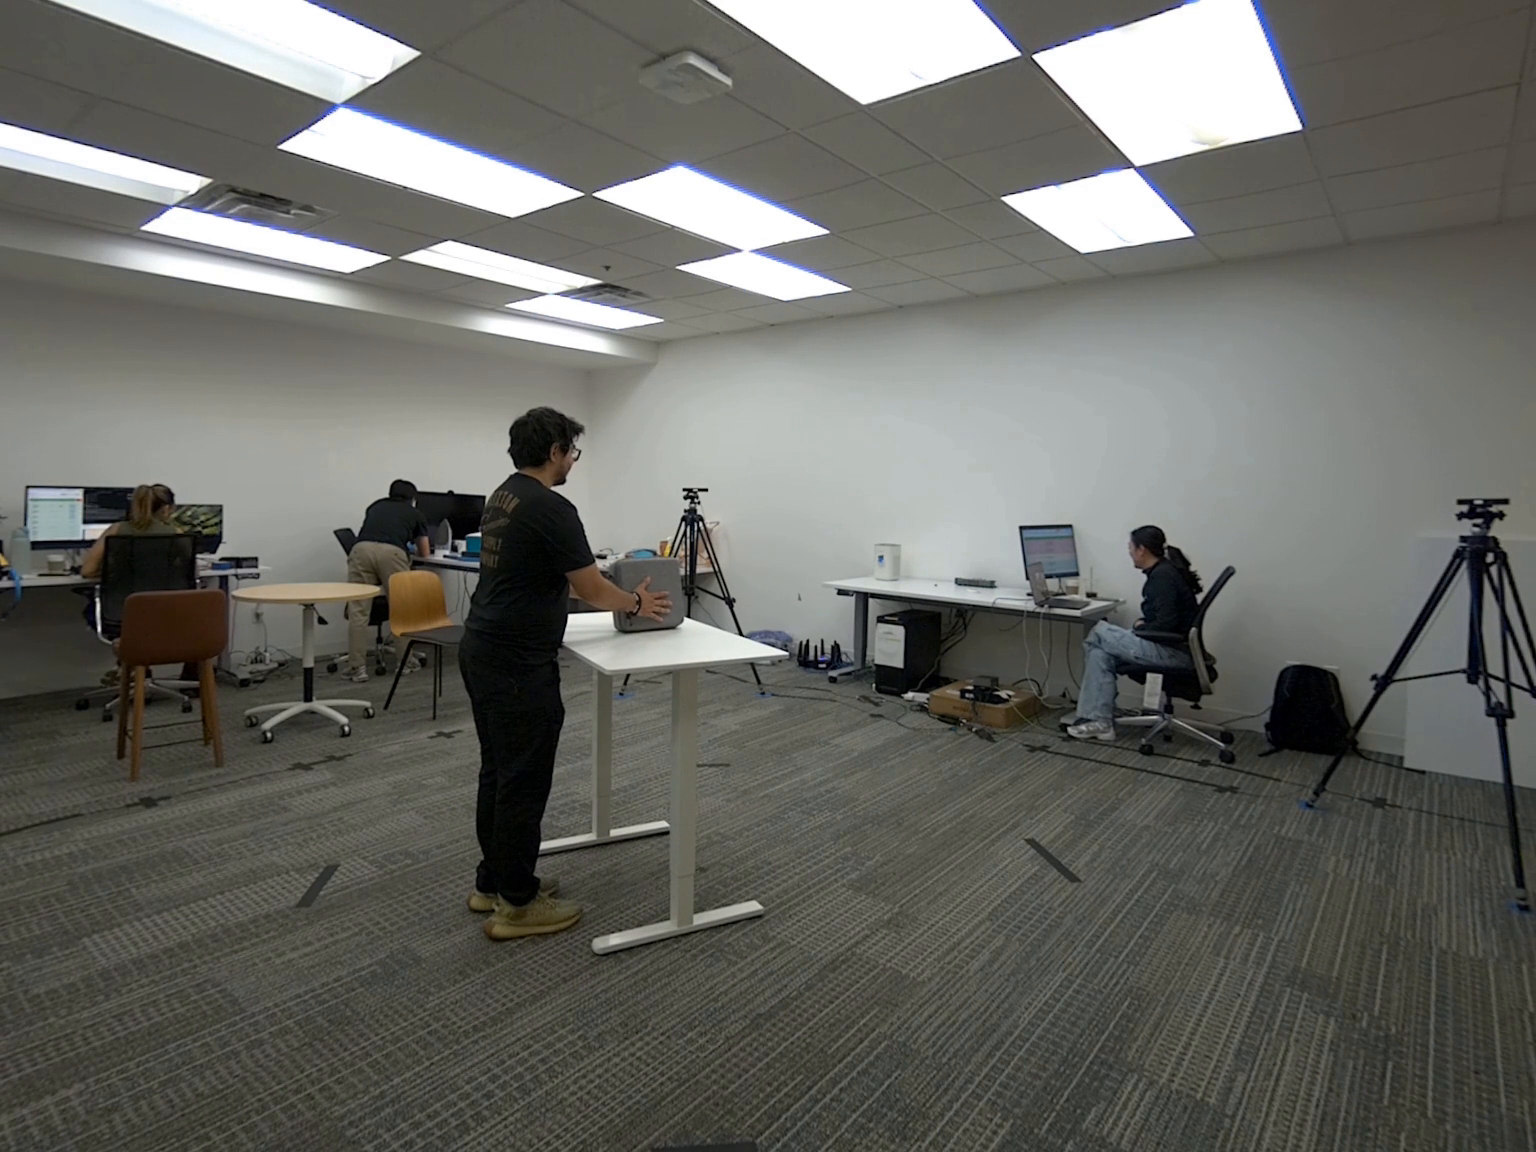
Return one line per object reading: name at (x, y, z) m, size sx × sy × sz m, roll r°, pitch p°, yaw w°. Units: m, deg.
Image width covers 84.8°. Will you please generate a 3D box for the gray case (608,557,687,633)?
gray case at (-0.446, 0.059, 3.041) m, size 0.250 × 0.262 × 0.106 m, roll -3°, pitch -4°, yaw -30°
